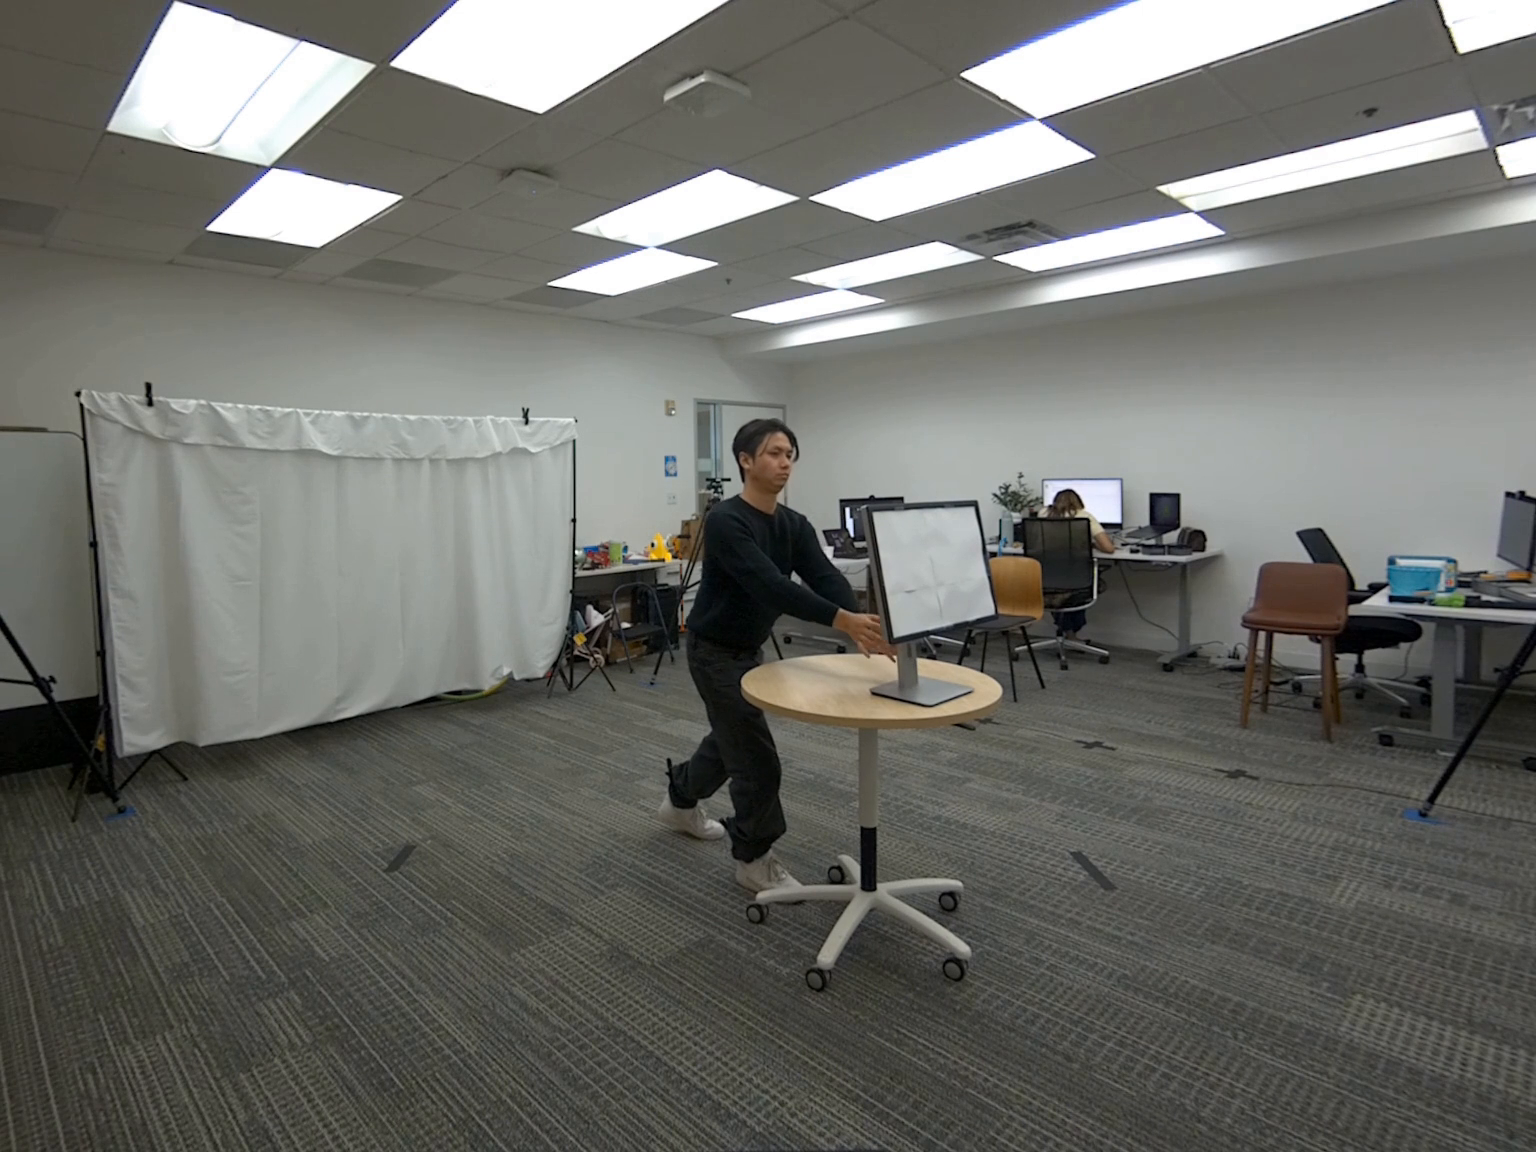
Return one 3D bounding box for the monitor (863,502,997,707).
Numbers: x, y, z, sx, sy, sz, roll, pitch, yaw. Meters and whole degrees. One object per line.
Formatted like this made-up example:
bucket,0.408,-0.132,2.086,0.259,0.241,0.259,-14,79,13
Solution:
monitor,0.448,0.062,2.407,0.180,0.513,0.515,10,9,41
